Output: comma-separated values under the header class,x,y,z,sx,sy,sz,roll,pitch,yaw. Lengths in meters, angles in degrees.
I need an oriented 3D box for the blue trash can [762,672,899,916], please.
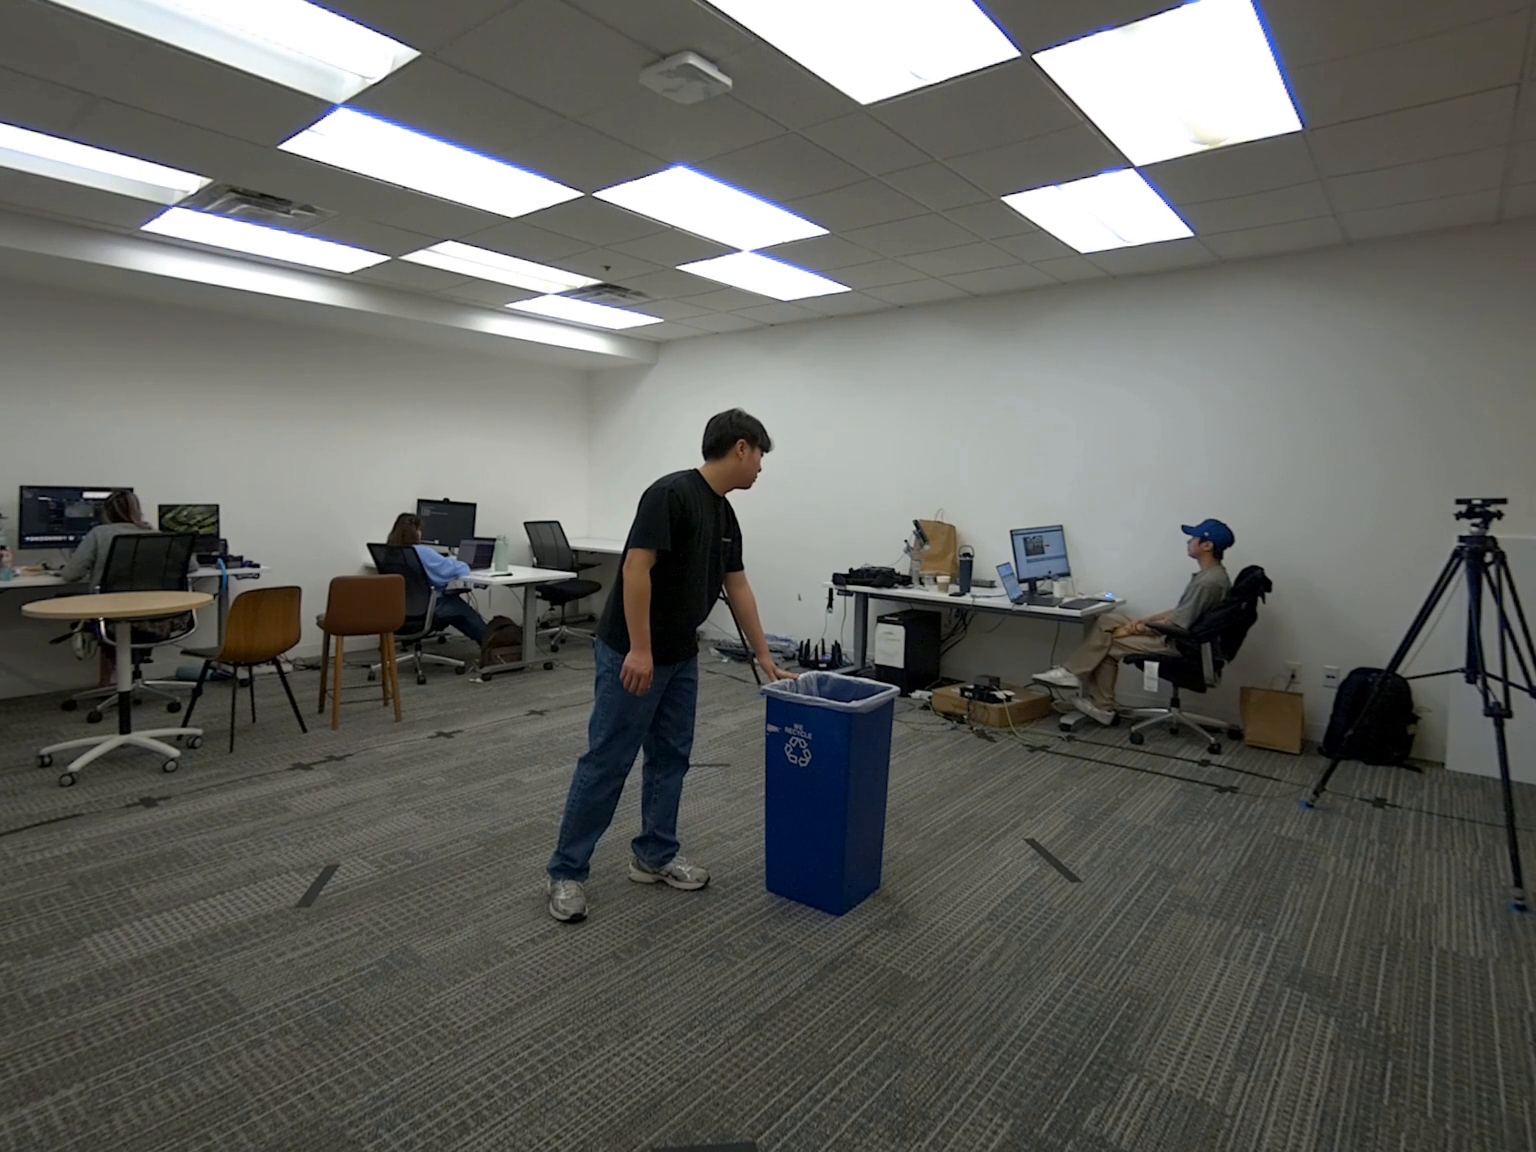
class,x,y,z,sx,sy,sz,roll,pitch,yaw
blue trash can,0.208,0.738,2.962,0.386,0.711,0.367,3,4,34
